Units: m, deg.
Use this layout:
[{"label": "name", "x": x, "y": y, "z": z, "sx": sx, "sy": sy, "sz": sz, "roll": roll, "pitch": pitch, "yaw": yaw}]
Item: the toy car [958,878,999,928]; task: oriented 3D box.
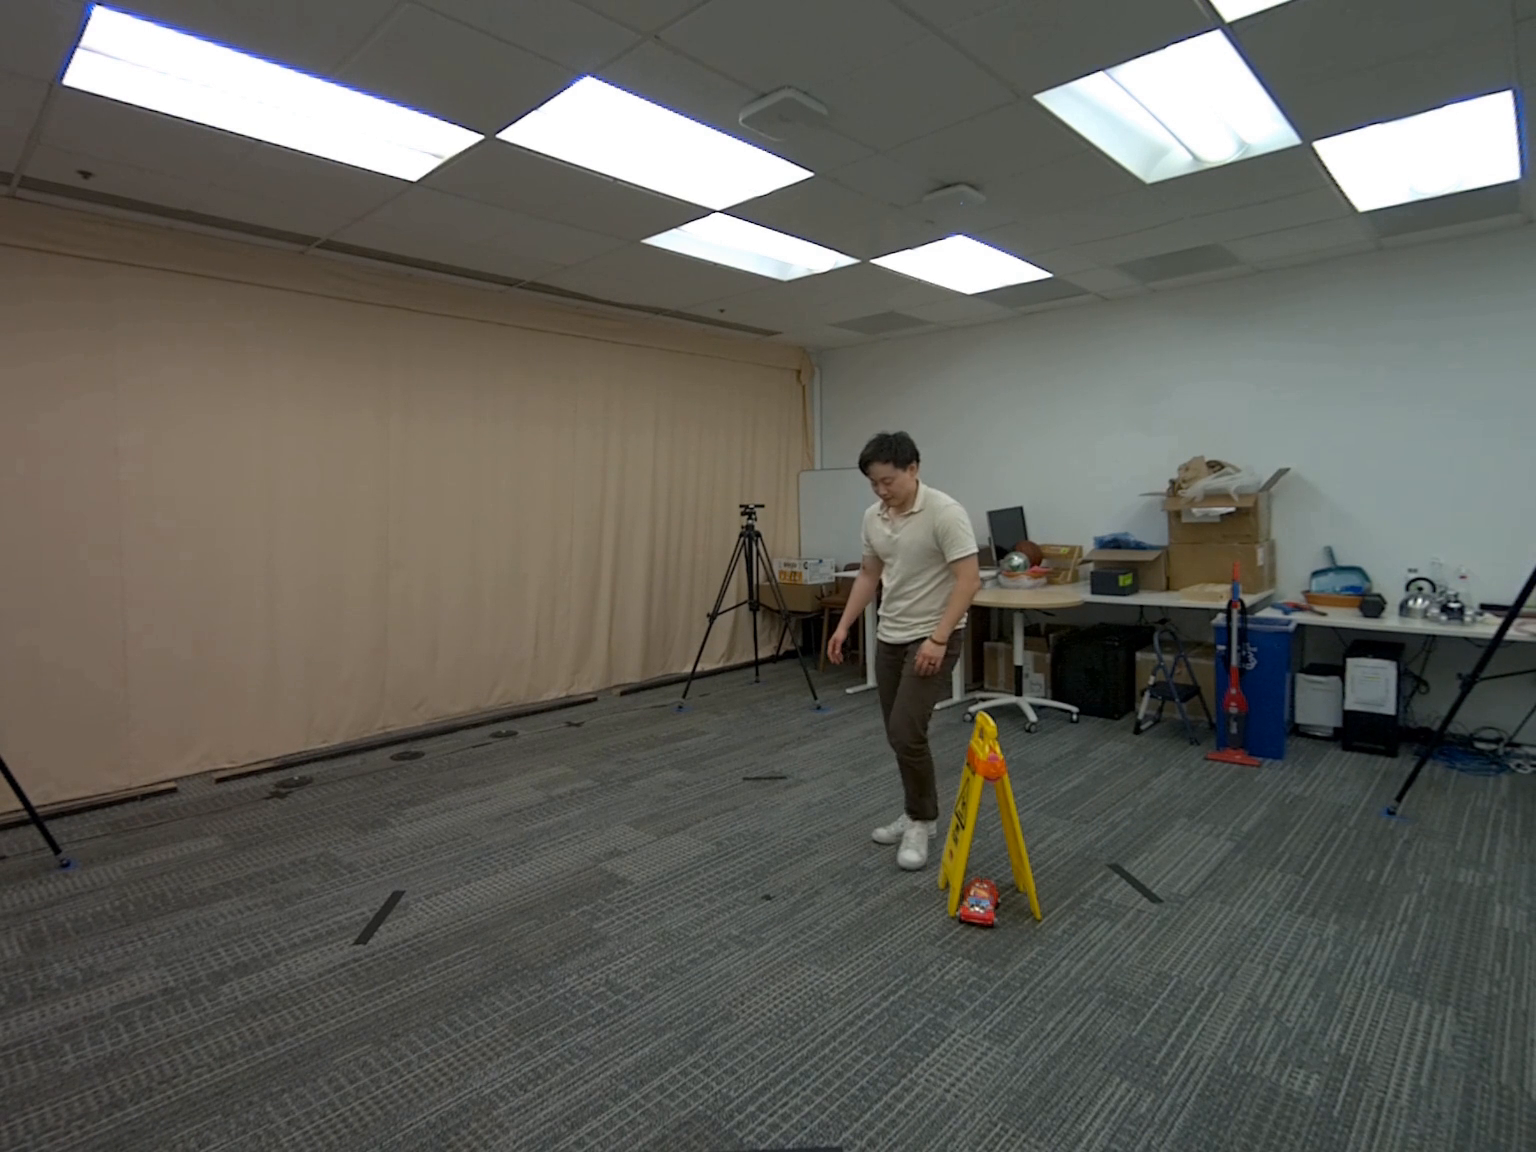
[{"label": "toy car", "x": 0.730, "y": 1.109, "z": 2.858, "sx": 0.133, "sy": 0.082, "sz": 0.252, "roll": 1, "pitch": 18, "yaw": 20}]
